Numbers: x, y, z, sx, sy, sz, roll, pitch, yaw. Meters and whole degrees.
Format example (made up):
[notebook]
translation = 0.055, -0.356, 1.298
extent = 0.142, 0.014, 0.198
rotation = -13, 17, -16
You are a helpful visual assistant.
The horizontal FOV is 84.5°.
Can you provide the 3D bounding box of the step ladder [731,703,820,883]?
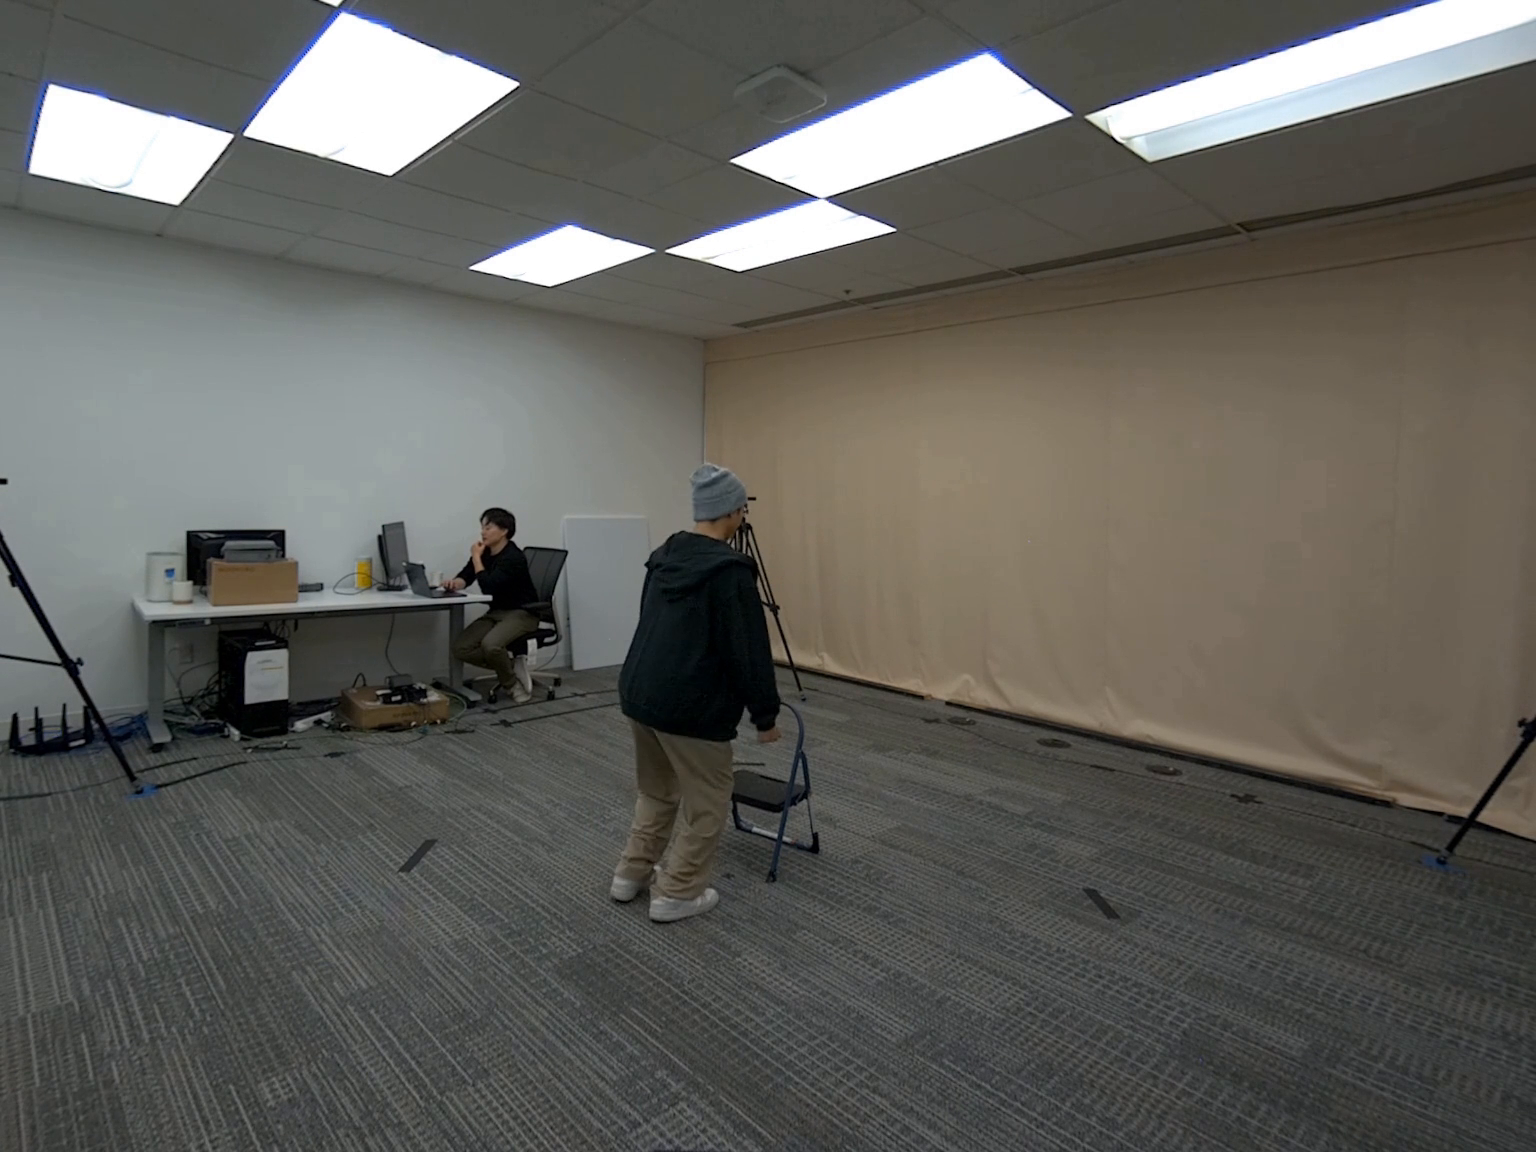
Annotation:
[step ladder]
translation = -0.056, 0.789, 3.307
extent = 0.441, 0.604, 0.342
rotation = 4, 4, 36
